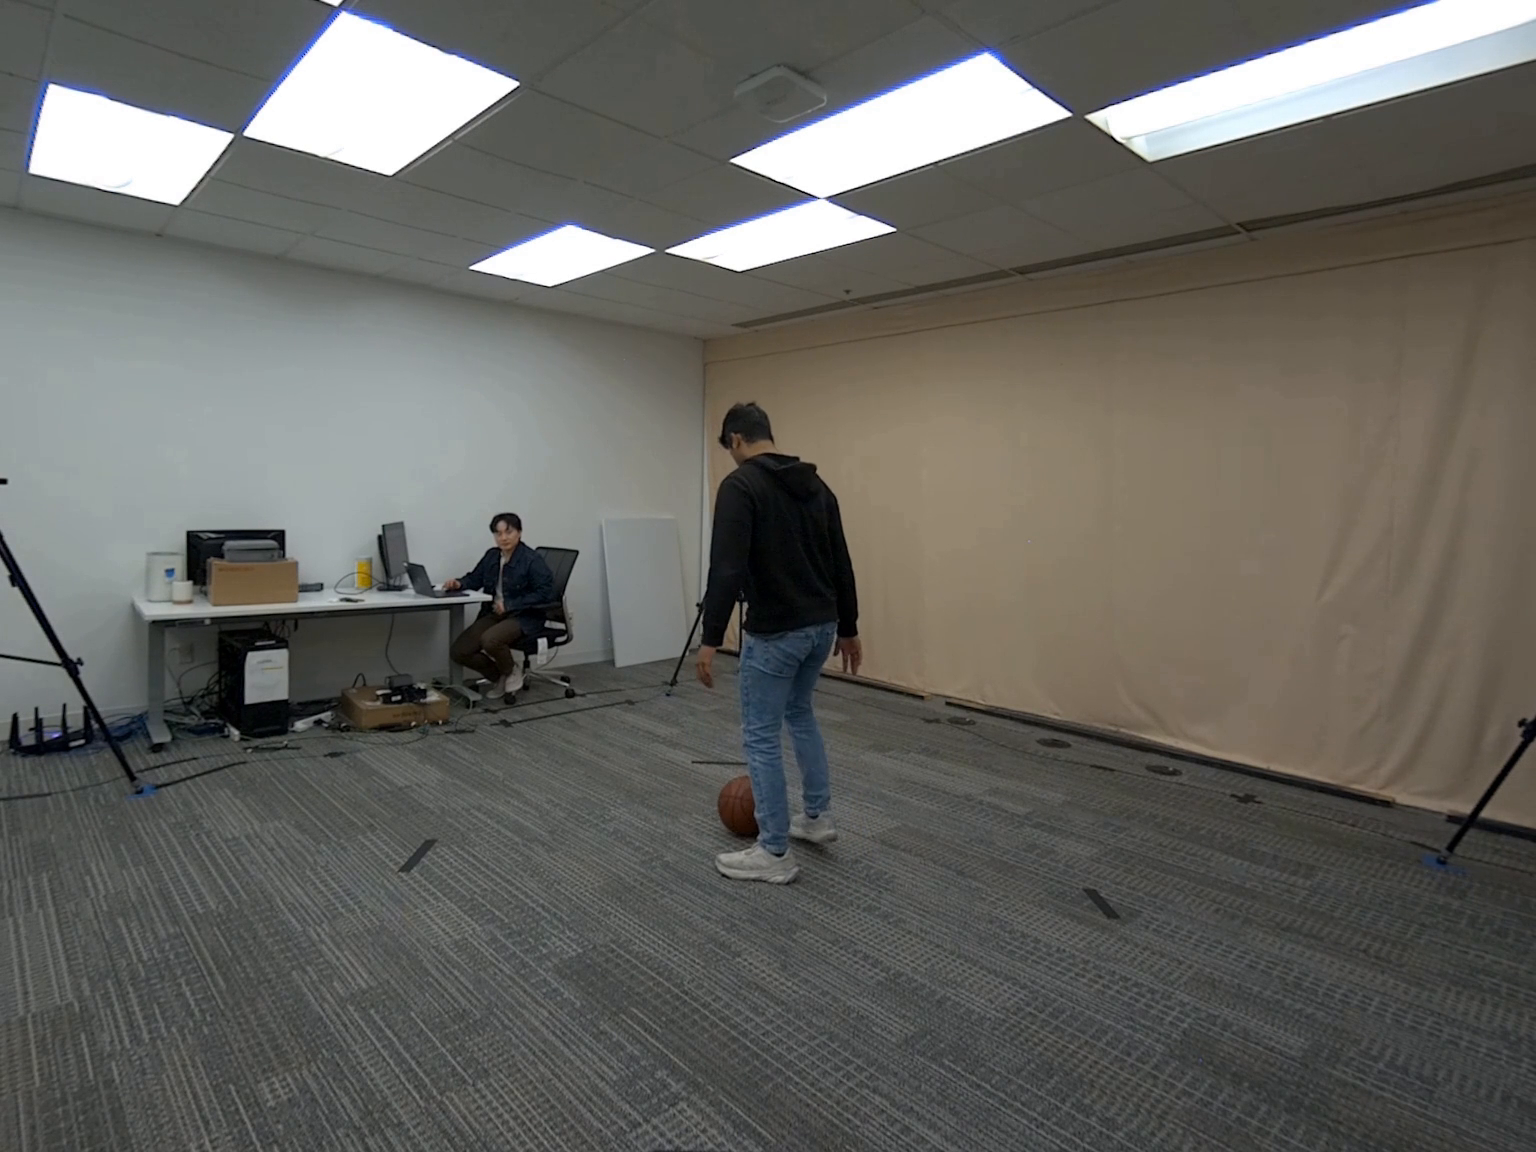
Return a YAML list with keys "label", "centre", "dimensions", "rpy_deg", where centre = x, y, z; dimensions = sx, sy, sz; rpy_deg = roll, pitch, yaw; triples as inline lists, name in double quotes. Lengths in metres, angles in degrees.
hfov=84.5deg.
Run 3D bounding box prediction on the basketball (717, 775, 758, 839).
- label: "basketball"
  centre: [-0.097, 0.950, 3.500]
  dimensions: [0.236, 0.235, 0.237]
  rpy_deg: [1, 4, -1]
